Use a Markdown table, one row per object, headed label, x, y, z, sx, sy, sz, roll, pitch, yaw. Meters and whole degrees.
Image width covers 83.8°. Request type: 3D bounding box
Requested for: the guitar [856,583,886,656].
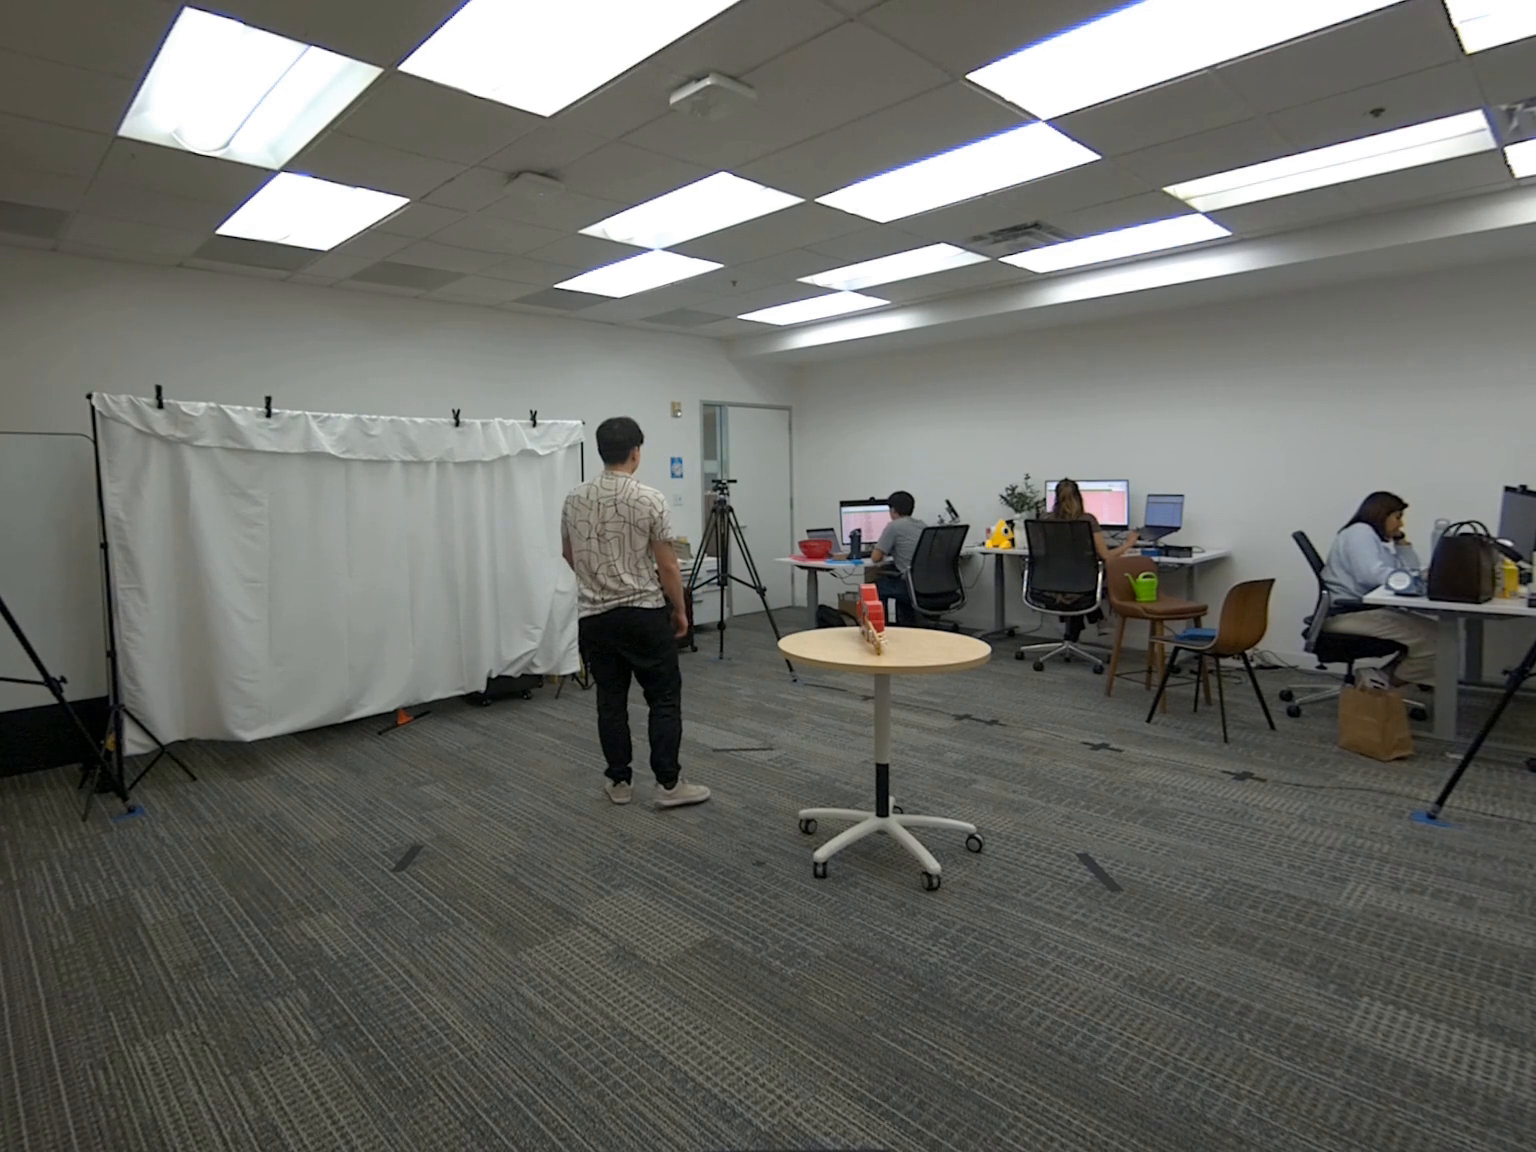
| label | x | y | z | sx | sy | sz | roll | pitch | yaw |
| --- | --- | --- | --- | --- | --- | --- | --- | --- | --- |
| guitar | 0.397 | 0.207 | 3.187 | 0.071 | 0.189 | 0.508 | -1 | 24 | -2 |
